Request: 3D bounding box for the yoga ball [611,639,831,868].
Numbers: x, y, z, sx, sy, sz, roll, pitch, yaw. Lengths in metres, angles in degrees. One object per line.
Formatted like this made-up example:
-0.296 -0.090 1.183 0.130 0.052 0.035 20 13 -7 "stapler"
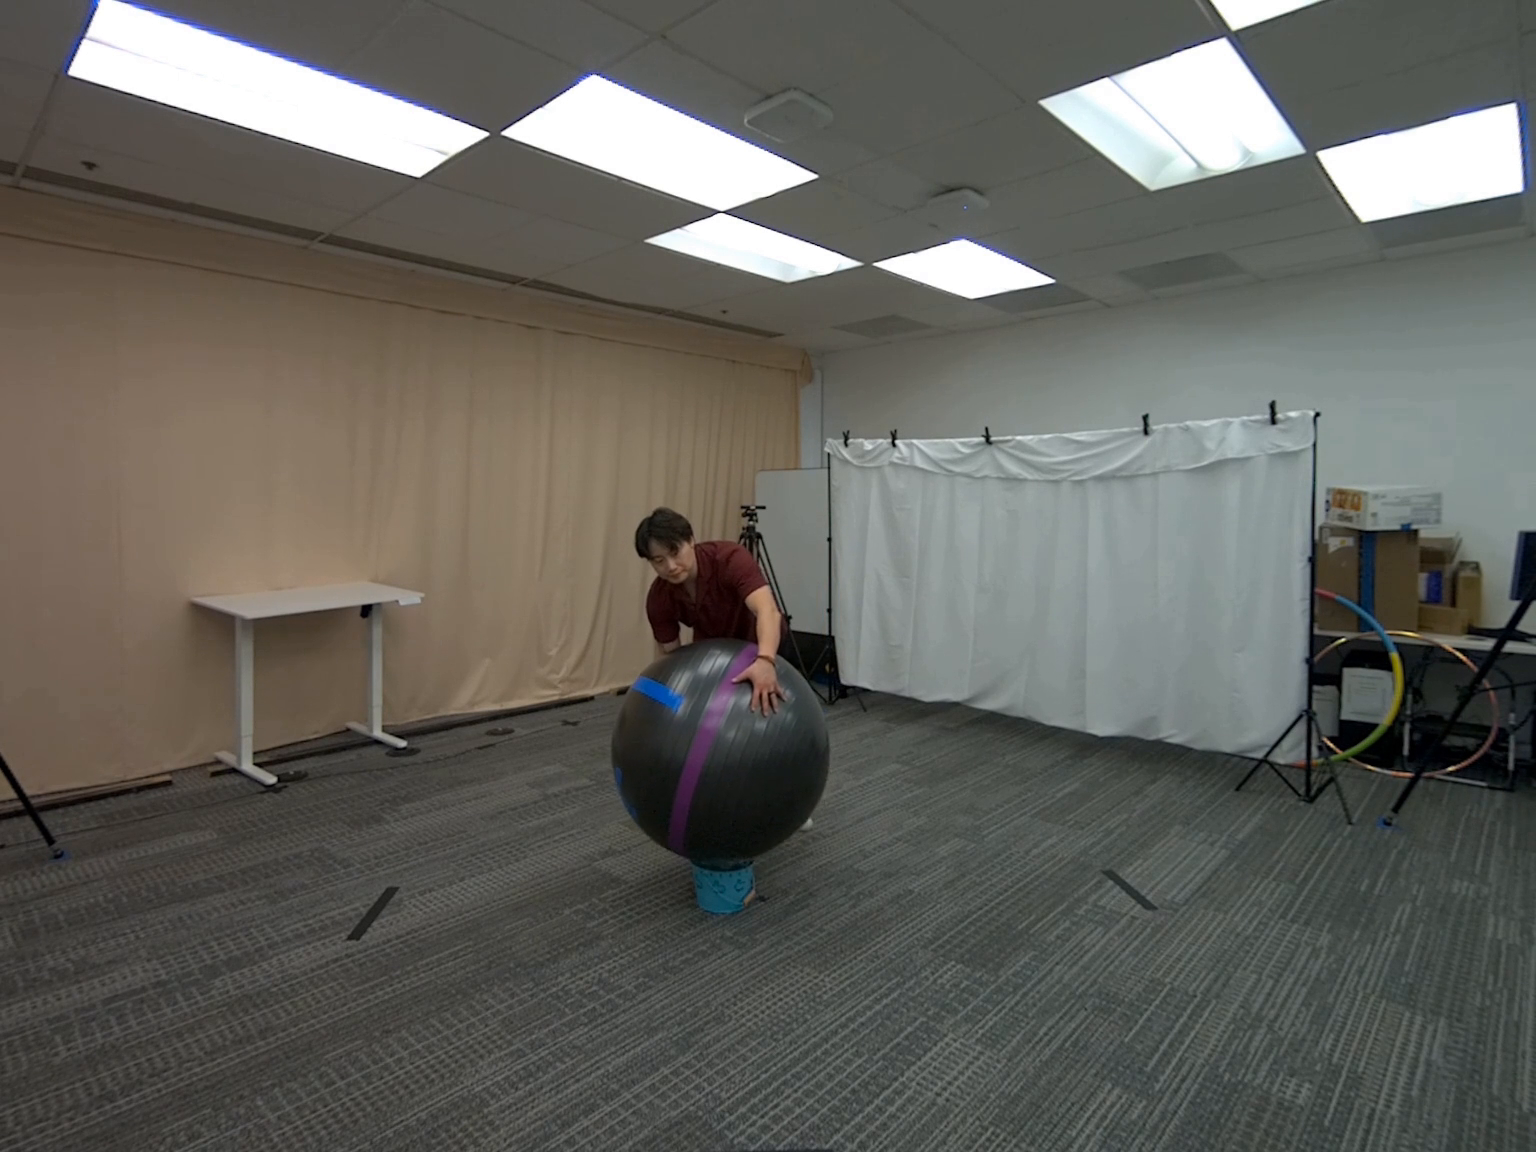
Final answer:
-0.165 0.595 2.939 0.757 0.756 0.760 0 4 -2 "yoga ball"
